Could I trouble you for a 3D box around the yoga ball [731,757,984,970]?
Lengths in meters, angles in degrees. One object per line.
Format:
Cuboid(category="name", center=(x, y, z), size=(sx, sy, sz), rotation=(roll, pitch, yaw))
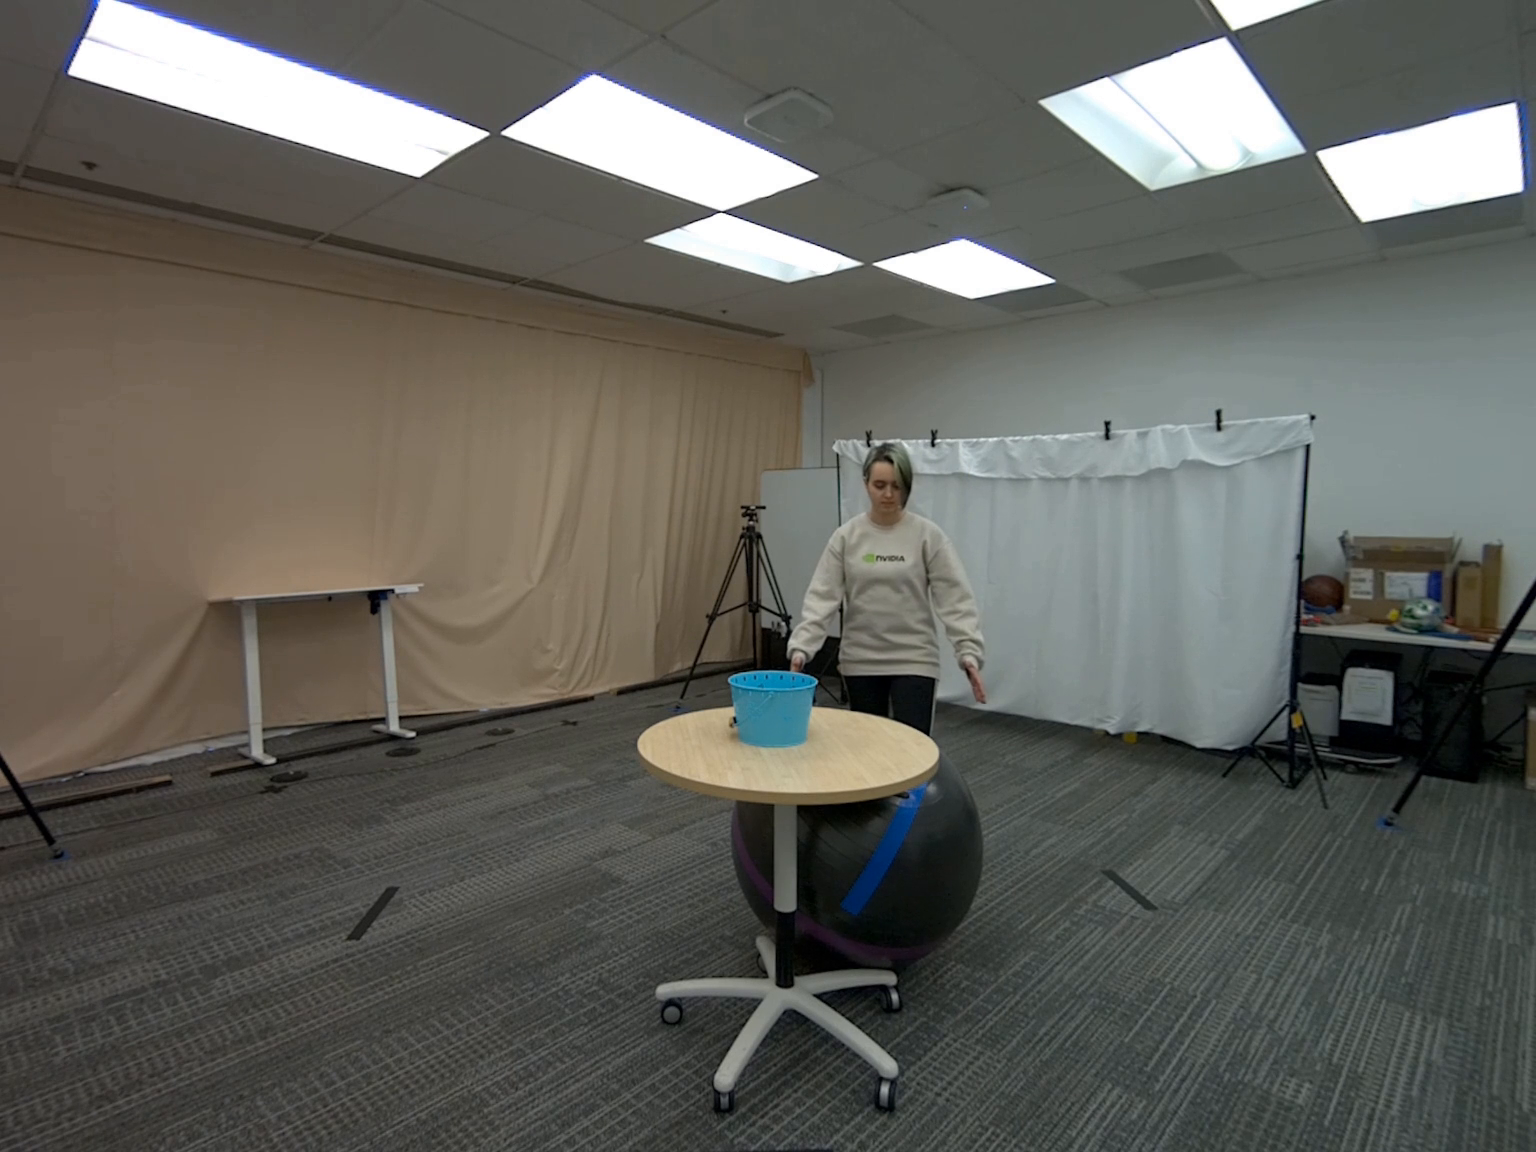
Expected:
Cuboid(category="yoga ball", center=(0.274, 0.816, 2.584), size=(0.757, 0.756, 0.760), rotation=(0, 4, -2))
